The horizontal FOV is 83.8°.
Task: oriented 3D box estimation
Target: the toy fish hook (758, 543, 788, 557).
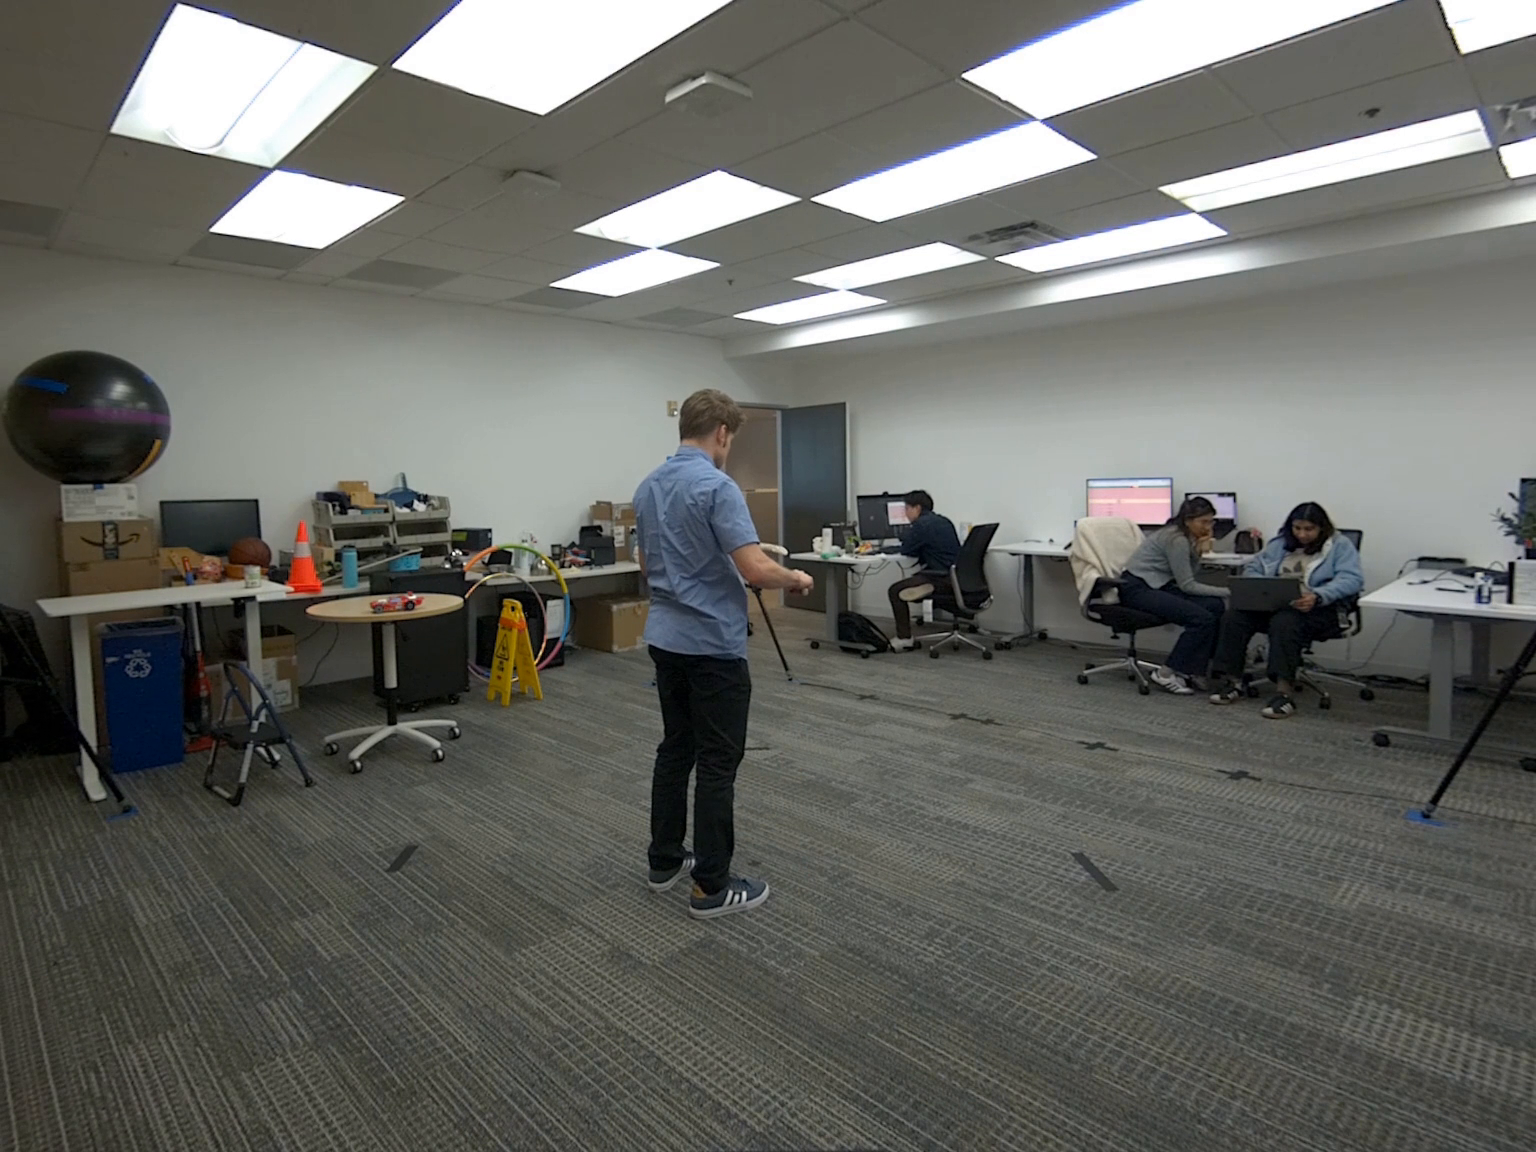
[{"bbox_3d":[0.023,-0.040,3.109,0.221,0.047,0.526,-25,30,-29],"label":"toy fish hook"}]
